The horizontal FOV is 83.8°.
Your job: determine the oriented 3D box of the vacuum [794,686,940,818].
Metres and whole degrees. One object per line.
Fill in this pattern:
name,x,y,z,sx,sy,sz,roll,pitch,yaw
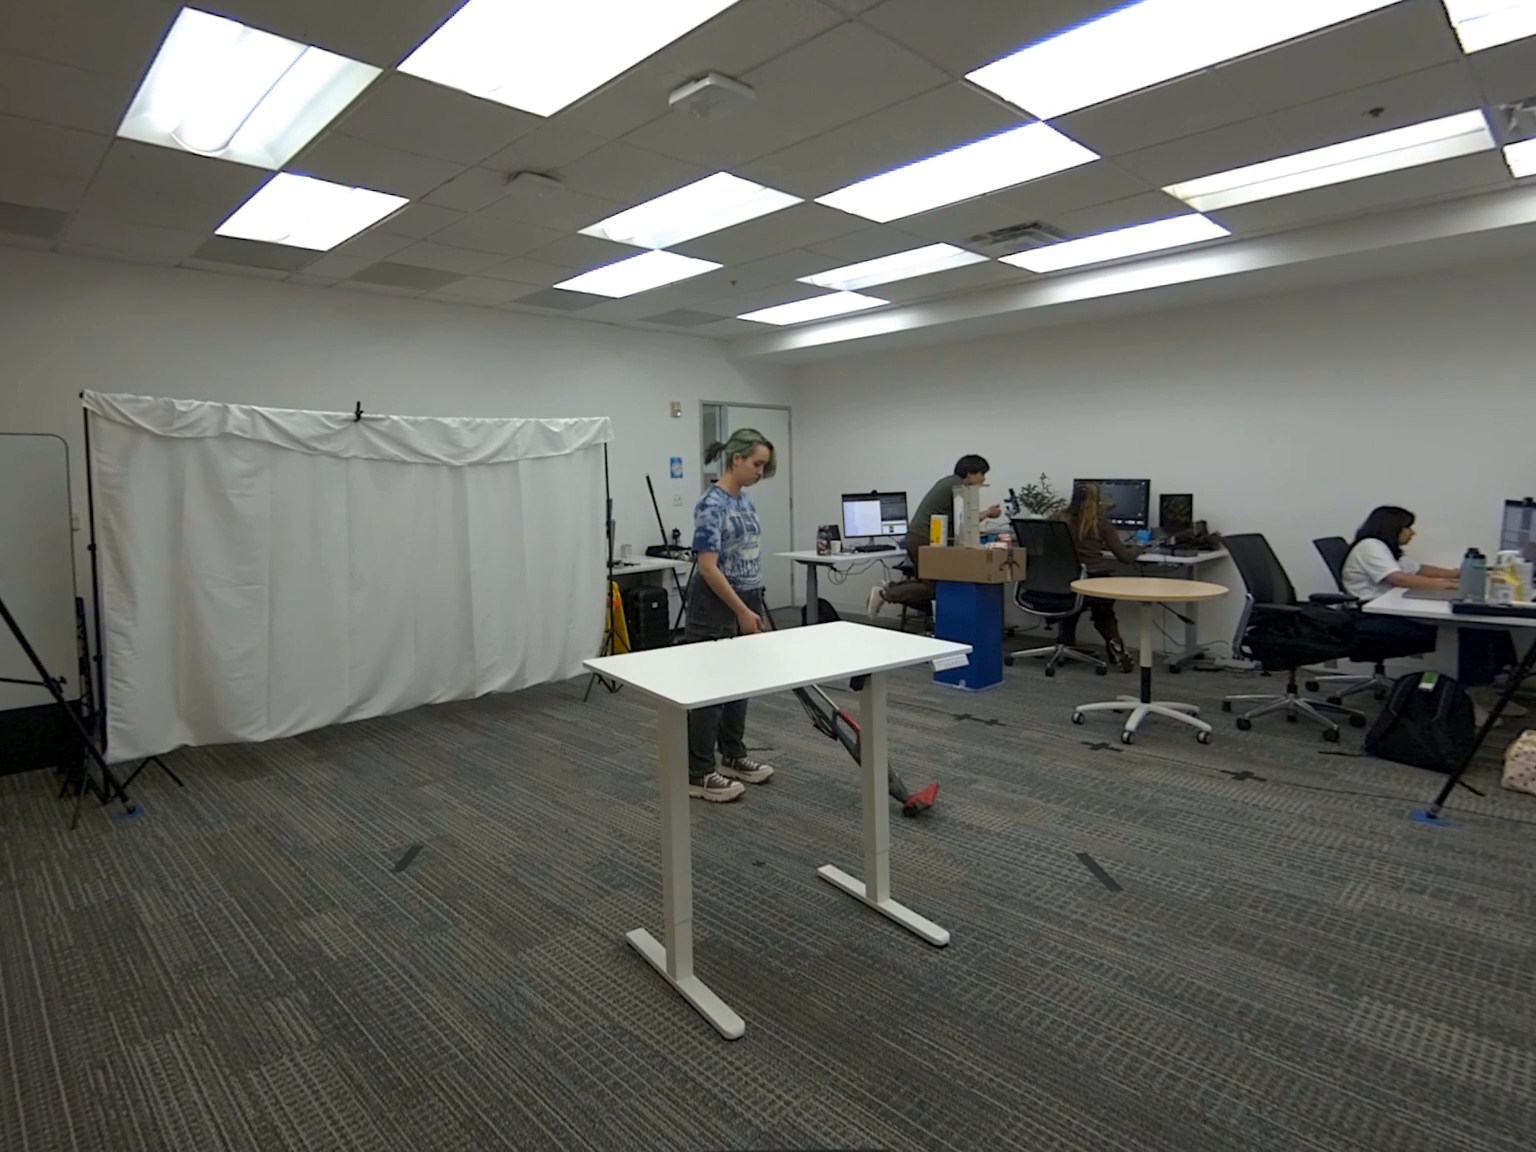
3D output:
vacuum,0.276,0.608,3.670,1.069,0.144,0.248,43,14,14
